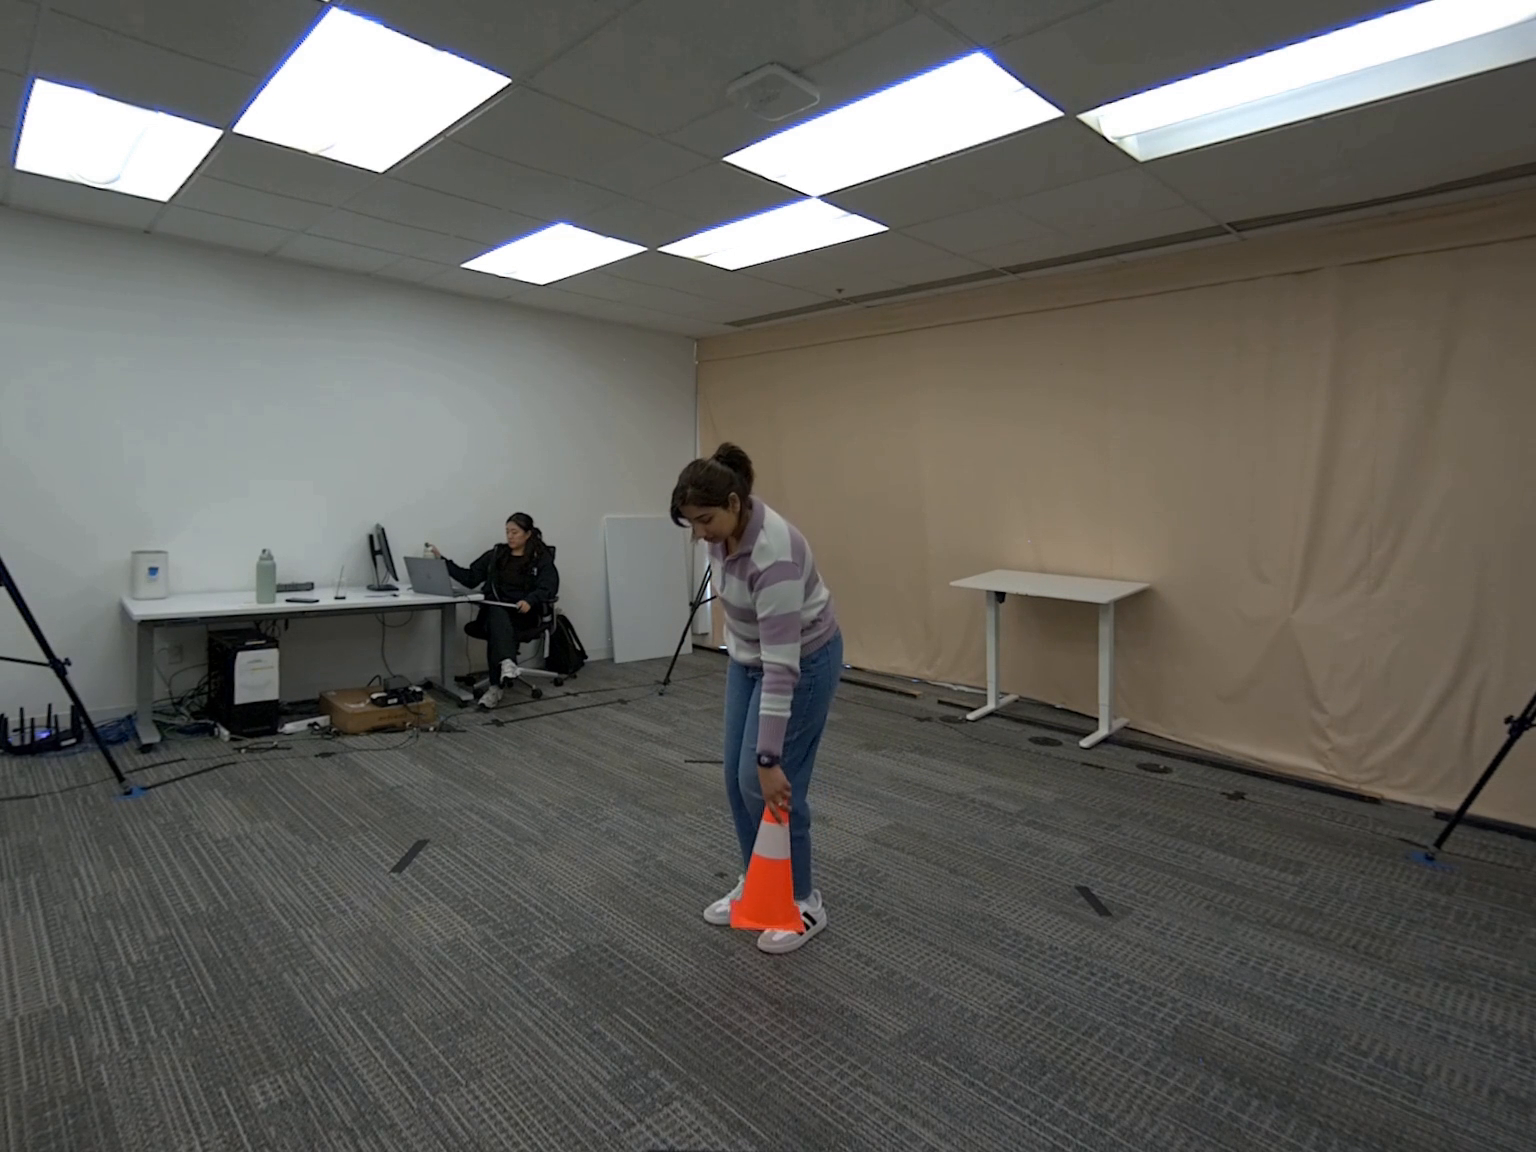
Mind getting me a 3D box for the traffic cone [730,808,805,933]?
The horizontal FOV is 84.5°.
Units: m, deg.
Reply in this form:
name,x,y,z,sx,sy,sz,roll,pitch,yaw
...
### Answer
name,x,y,z,sx,sy,sz,roll,pitch,yaw
traffic cone,0.006,0.752,2.325,0.202,0.385,0.205,6,-5,-7
